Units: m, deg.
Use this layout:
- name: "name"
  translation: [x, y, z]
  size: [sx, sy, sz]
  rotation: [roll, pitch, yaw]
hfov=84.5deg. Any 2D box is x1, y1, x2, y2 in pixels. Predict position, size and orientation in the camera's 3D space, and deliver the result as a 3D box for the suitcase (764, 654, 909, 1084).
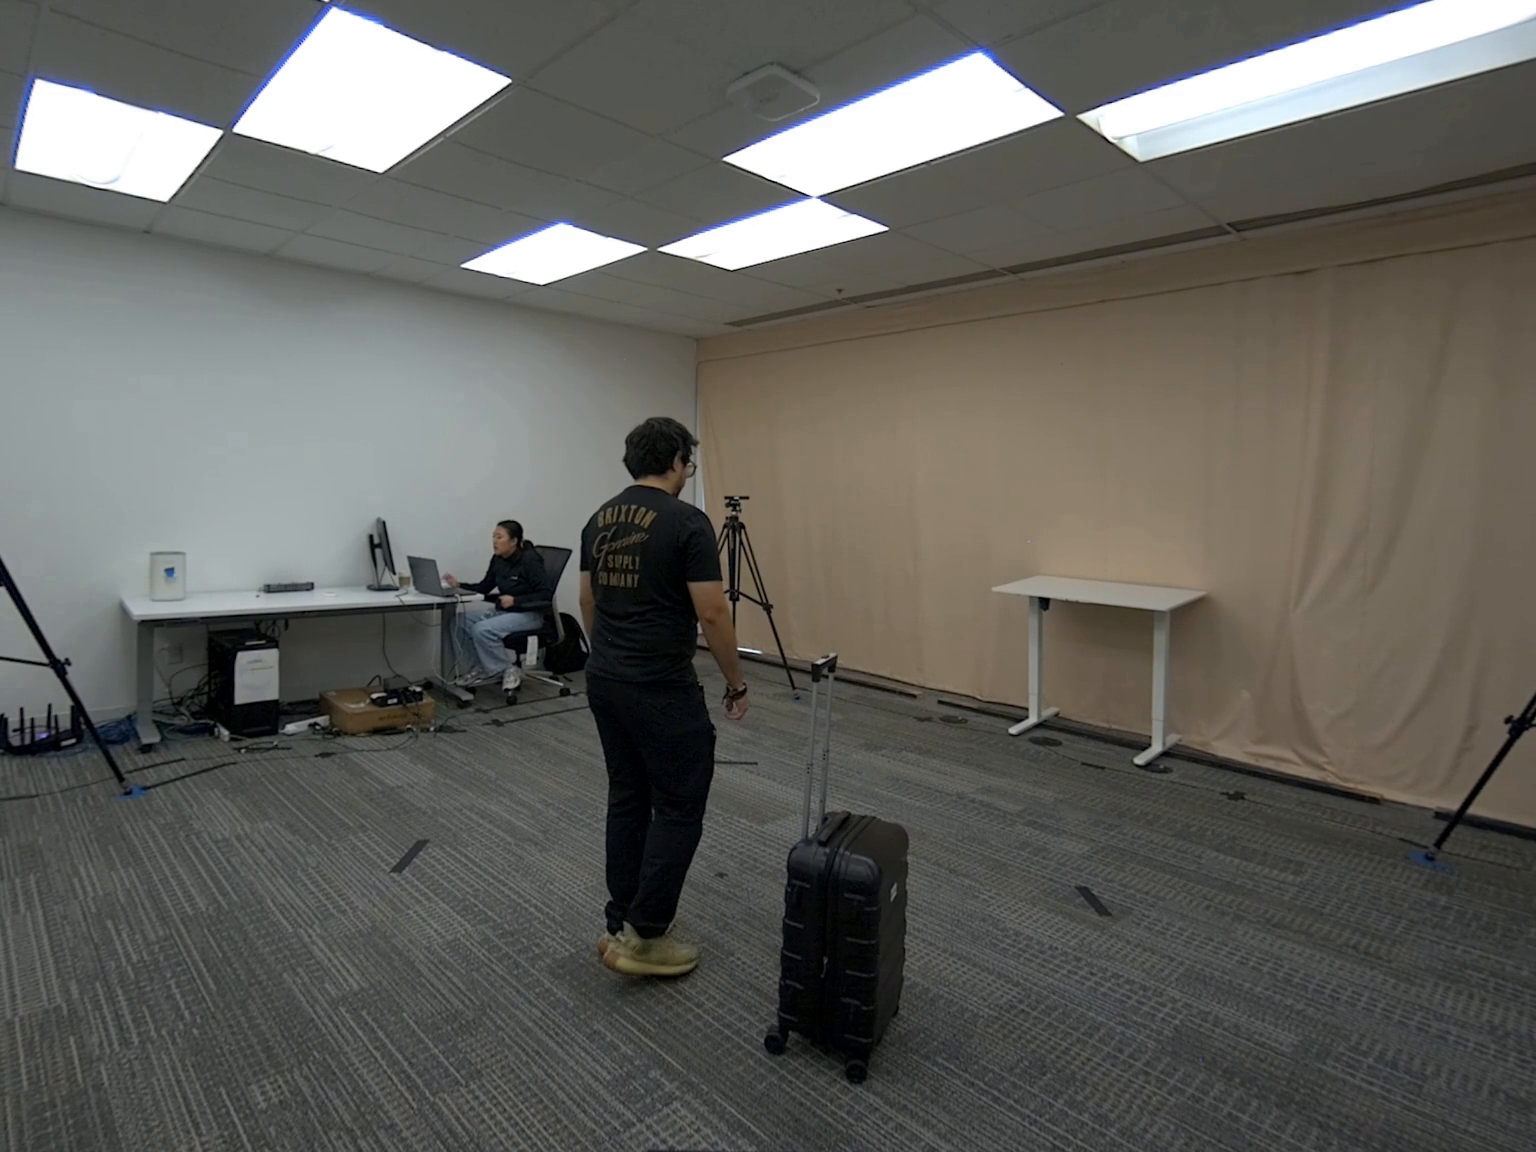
- name: "suitcase"
  translation: [0.212, 0.720, 2.184]
  size: [0.261, 0.976, 0.379]
  rotation: [6, 4, 17]
